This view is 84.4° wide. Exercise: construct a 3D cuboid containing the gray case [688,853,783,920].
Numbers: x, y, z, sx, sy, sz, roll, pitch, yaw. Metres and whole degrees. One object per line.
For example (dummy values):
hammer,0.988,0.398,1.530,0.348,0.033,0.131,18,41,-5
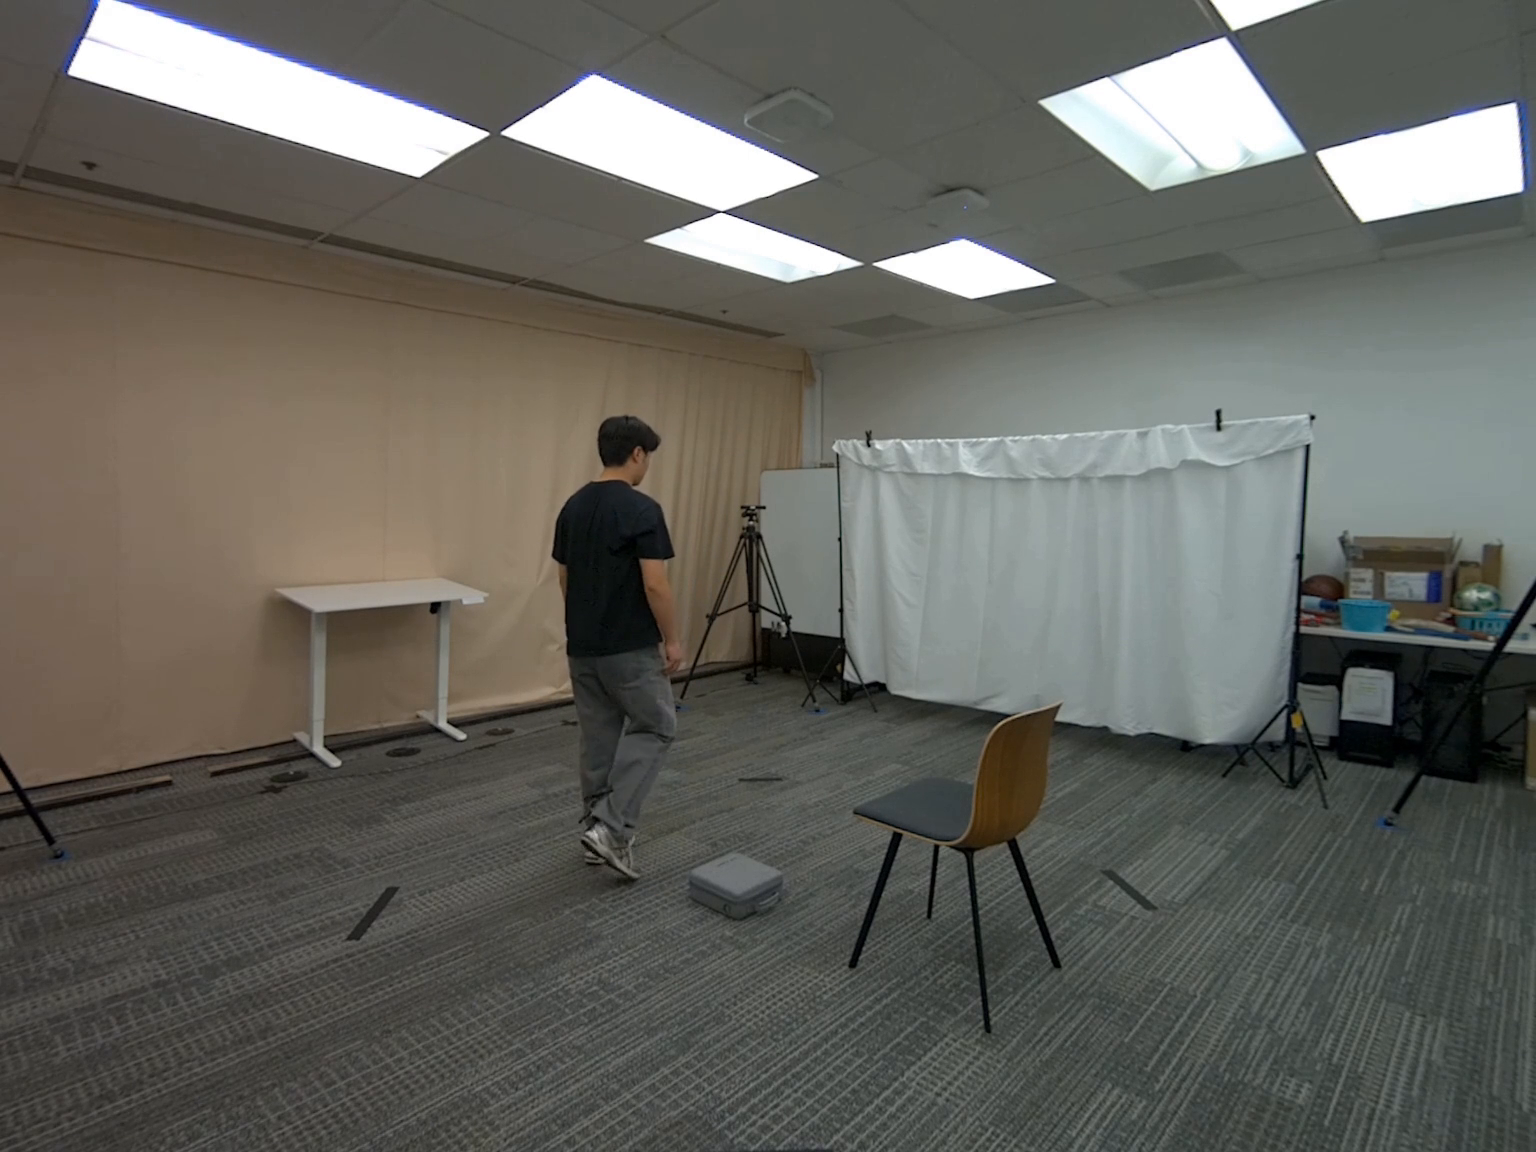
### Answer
gray case,-0.099,1.089,2.972,0.297,0.103,0.255,6,8,43
